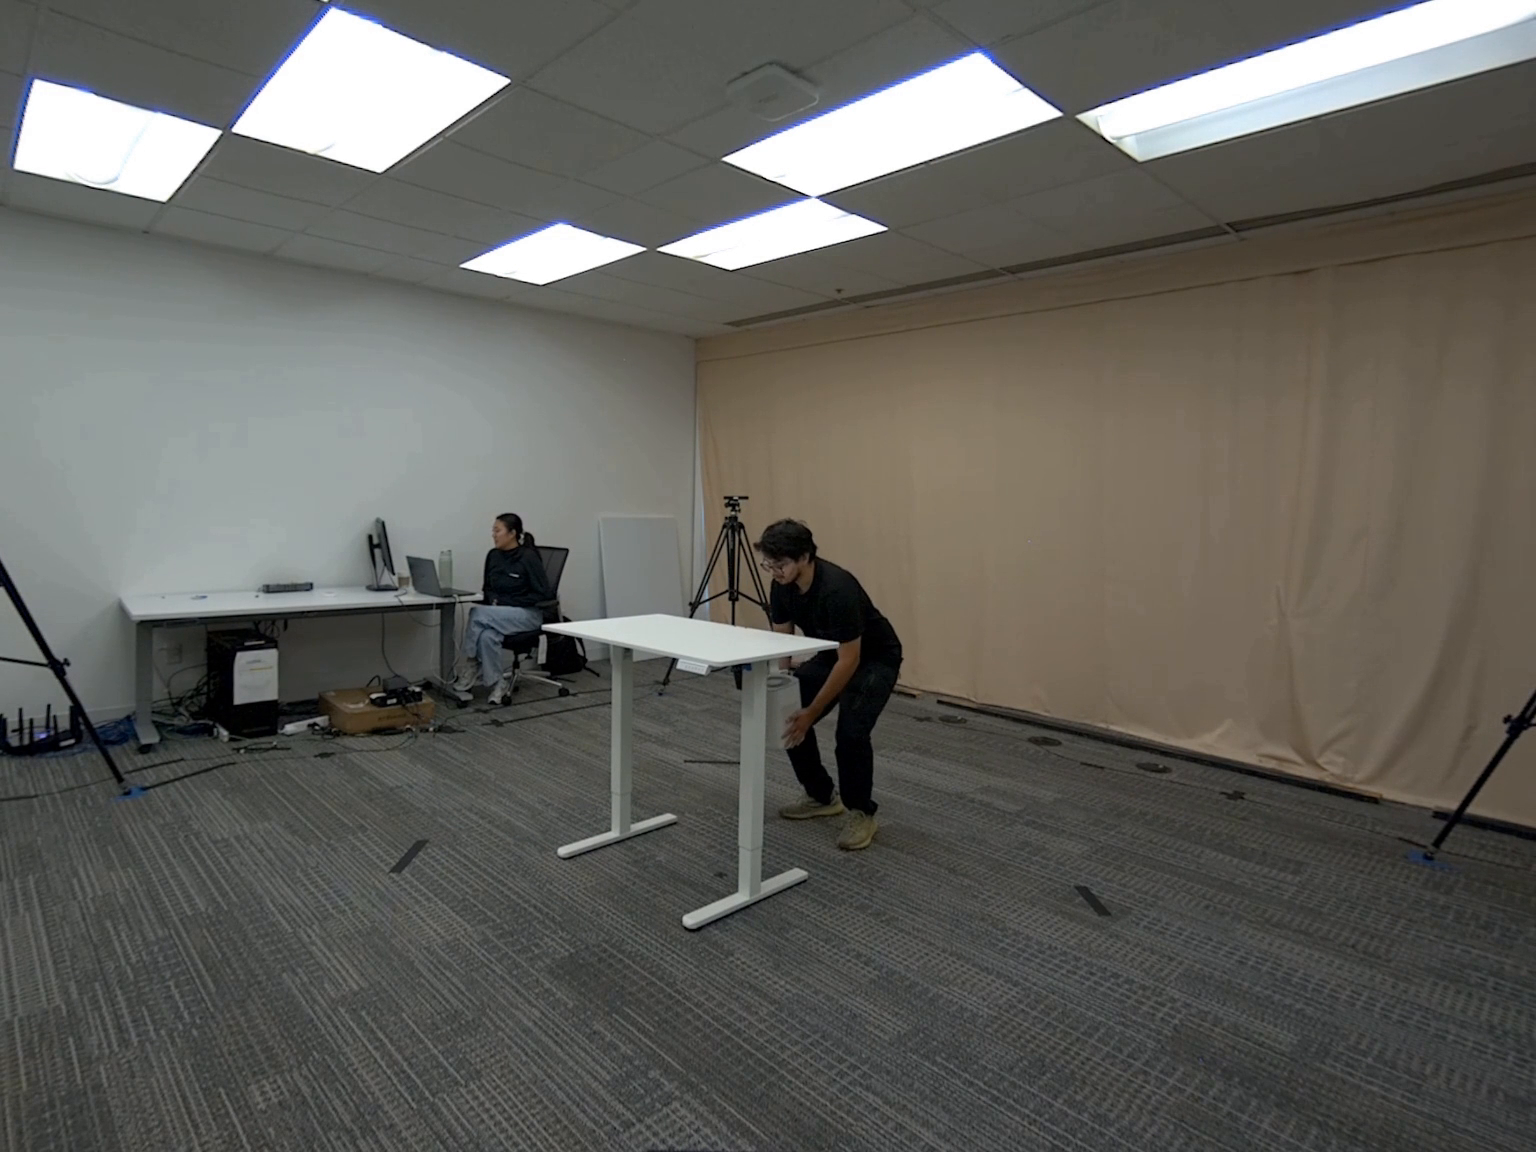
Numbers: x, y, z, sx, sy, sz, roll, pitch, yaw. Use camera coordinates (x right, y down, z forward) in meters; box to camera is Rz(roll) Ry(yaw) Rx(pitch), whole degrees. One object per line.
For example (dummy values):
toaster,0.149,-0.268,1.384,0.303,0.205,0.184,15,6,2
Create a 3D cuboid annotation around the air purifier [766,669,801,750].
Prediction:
air purifier,0.033,0.552,3.400,0.168,0.263,0.175,-14,14,-42
